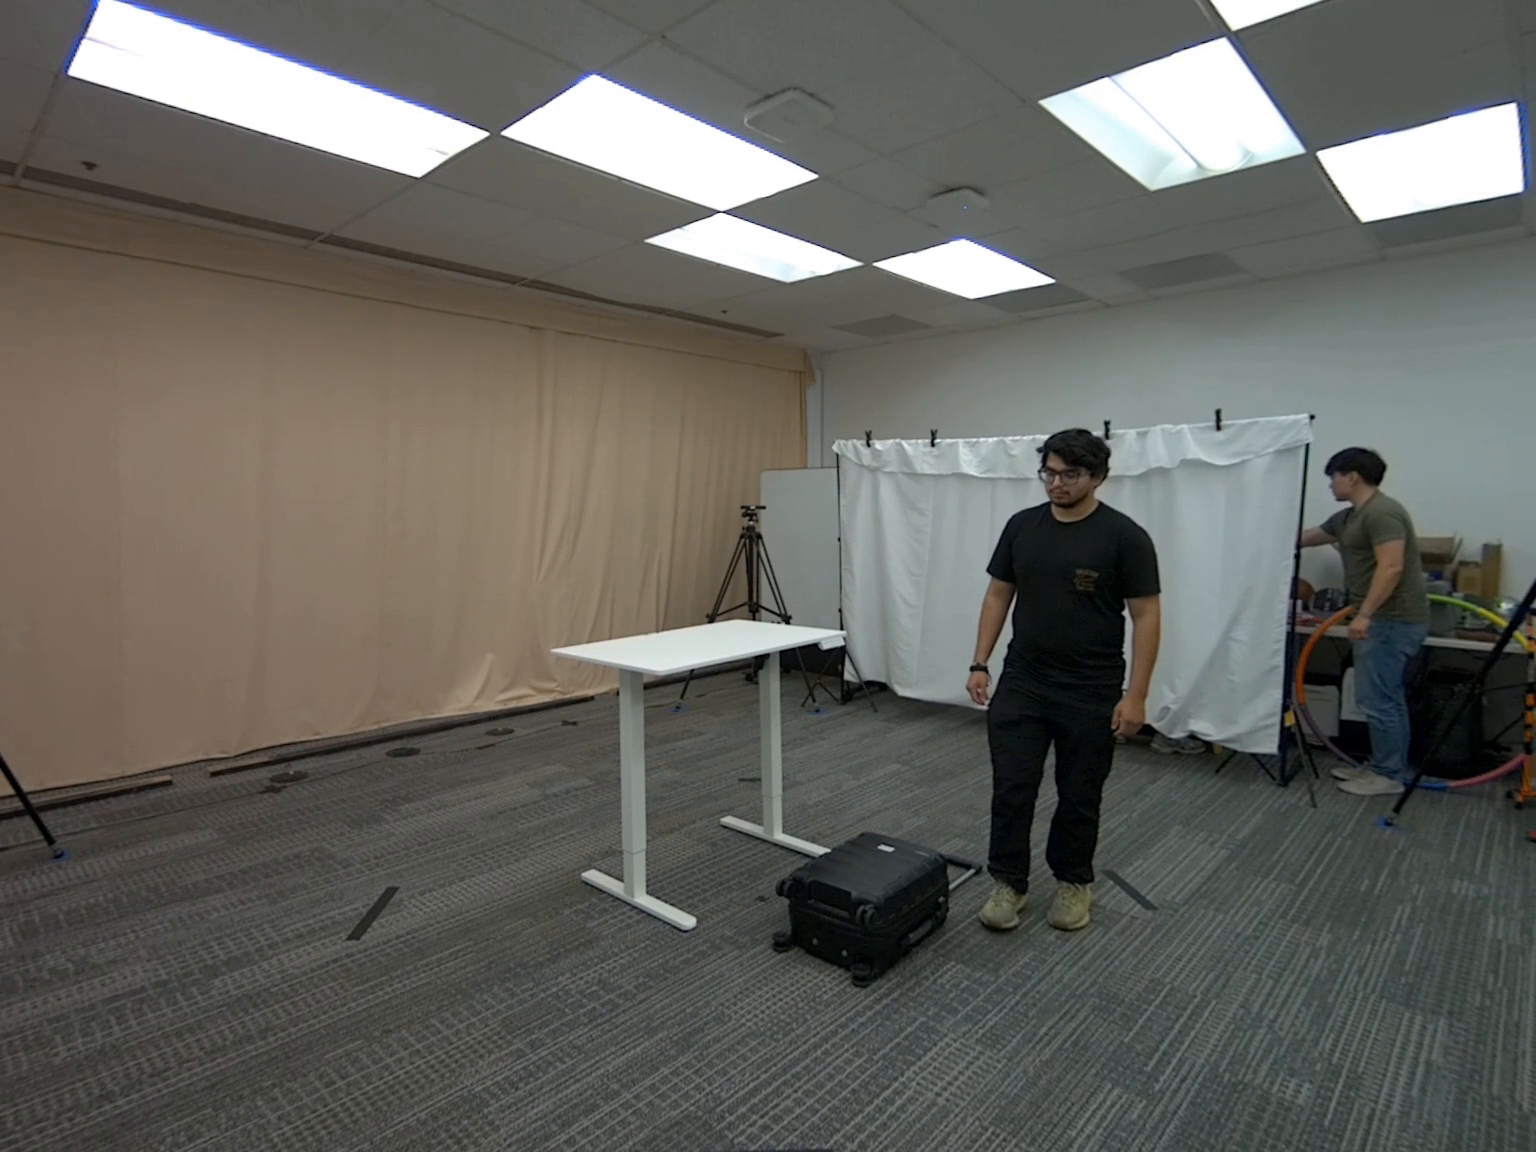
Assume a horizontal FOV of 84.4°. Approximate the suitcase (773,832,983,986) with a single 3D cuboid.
[{"bbox_3d":[0.457,1.026,2.872,0.396,0.256,0.950,3,6,39],"label":"suitcase"}]
